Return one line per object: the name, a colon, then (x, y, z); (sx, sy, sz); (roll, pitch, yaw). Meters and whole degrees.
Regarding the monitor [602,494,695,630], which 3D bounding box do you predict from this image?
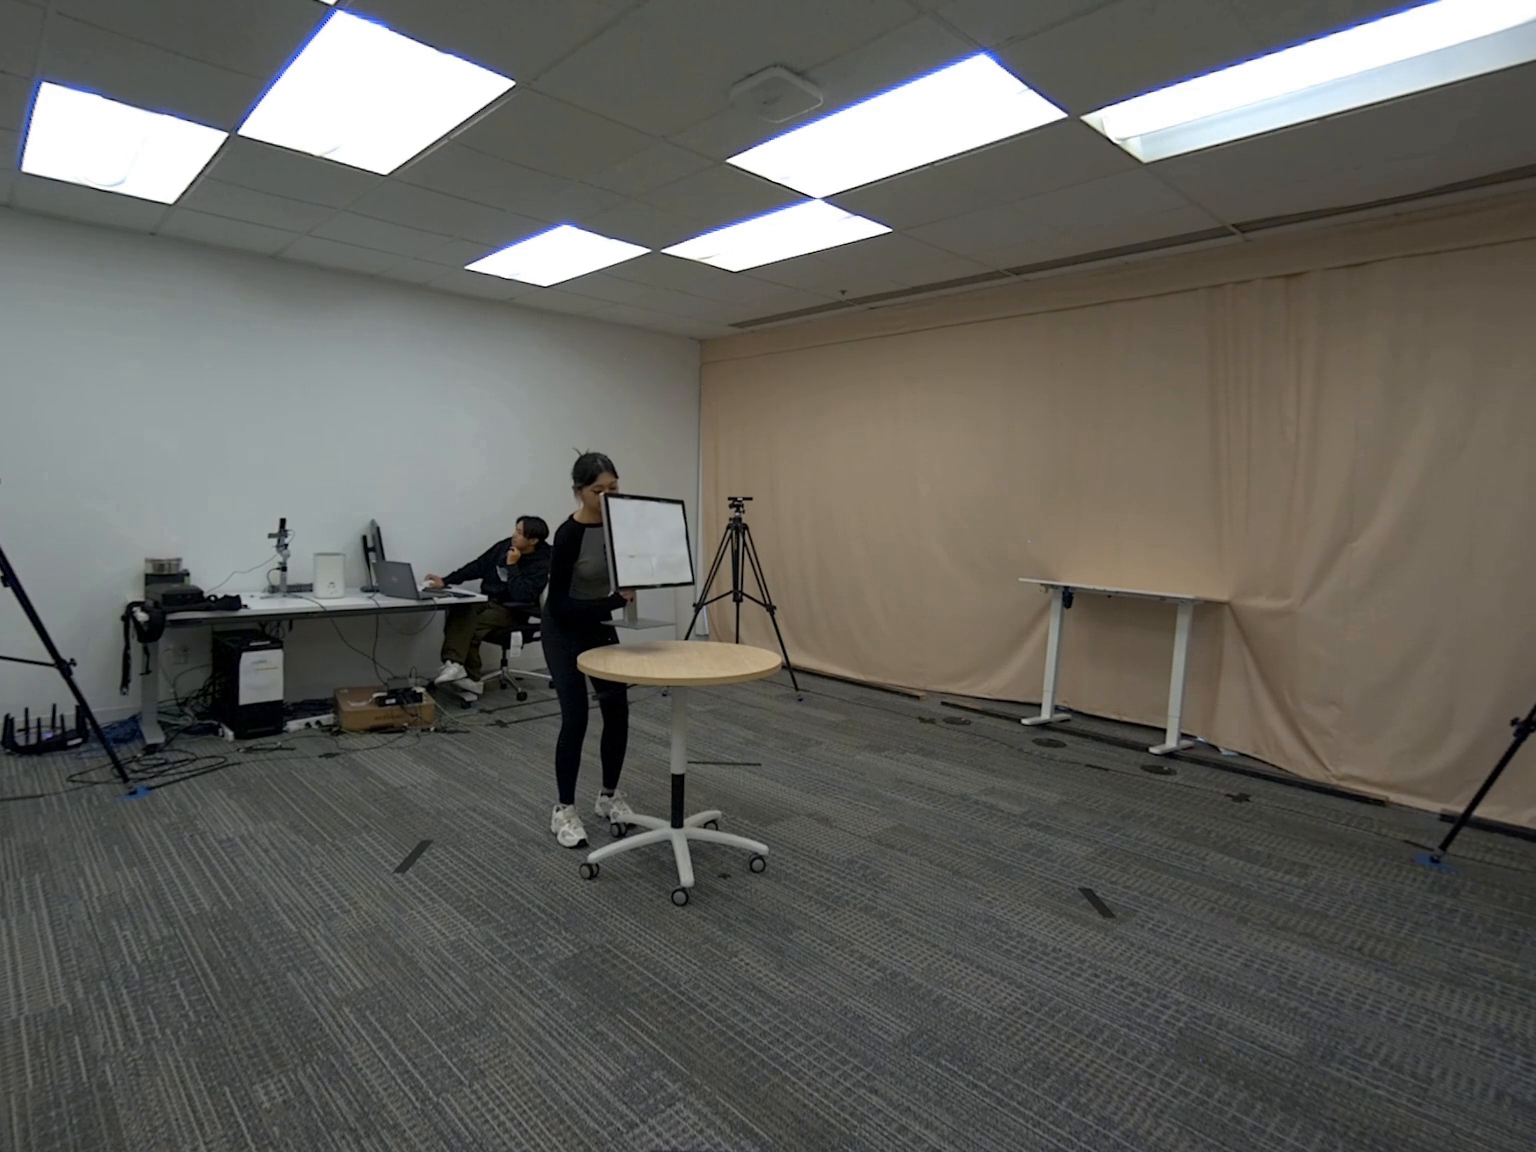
monitor: (-0.511, -0.050, 3.315); (0.191, 0.521, 0.529); (7, 4, 25)
